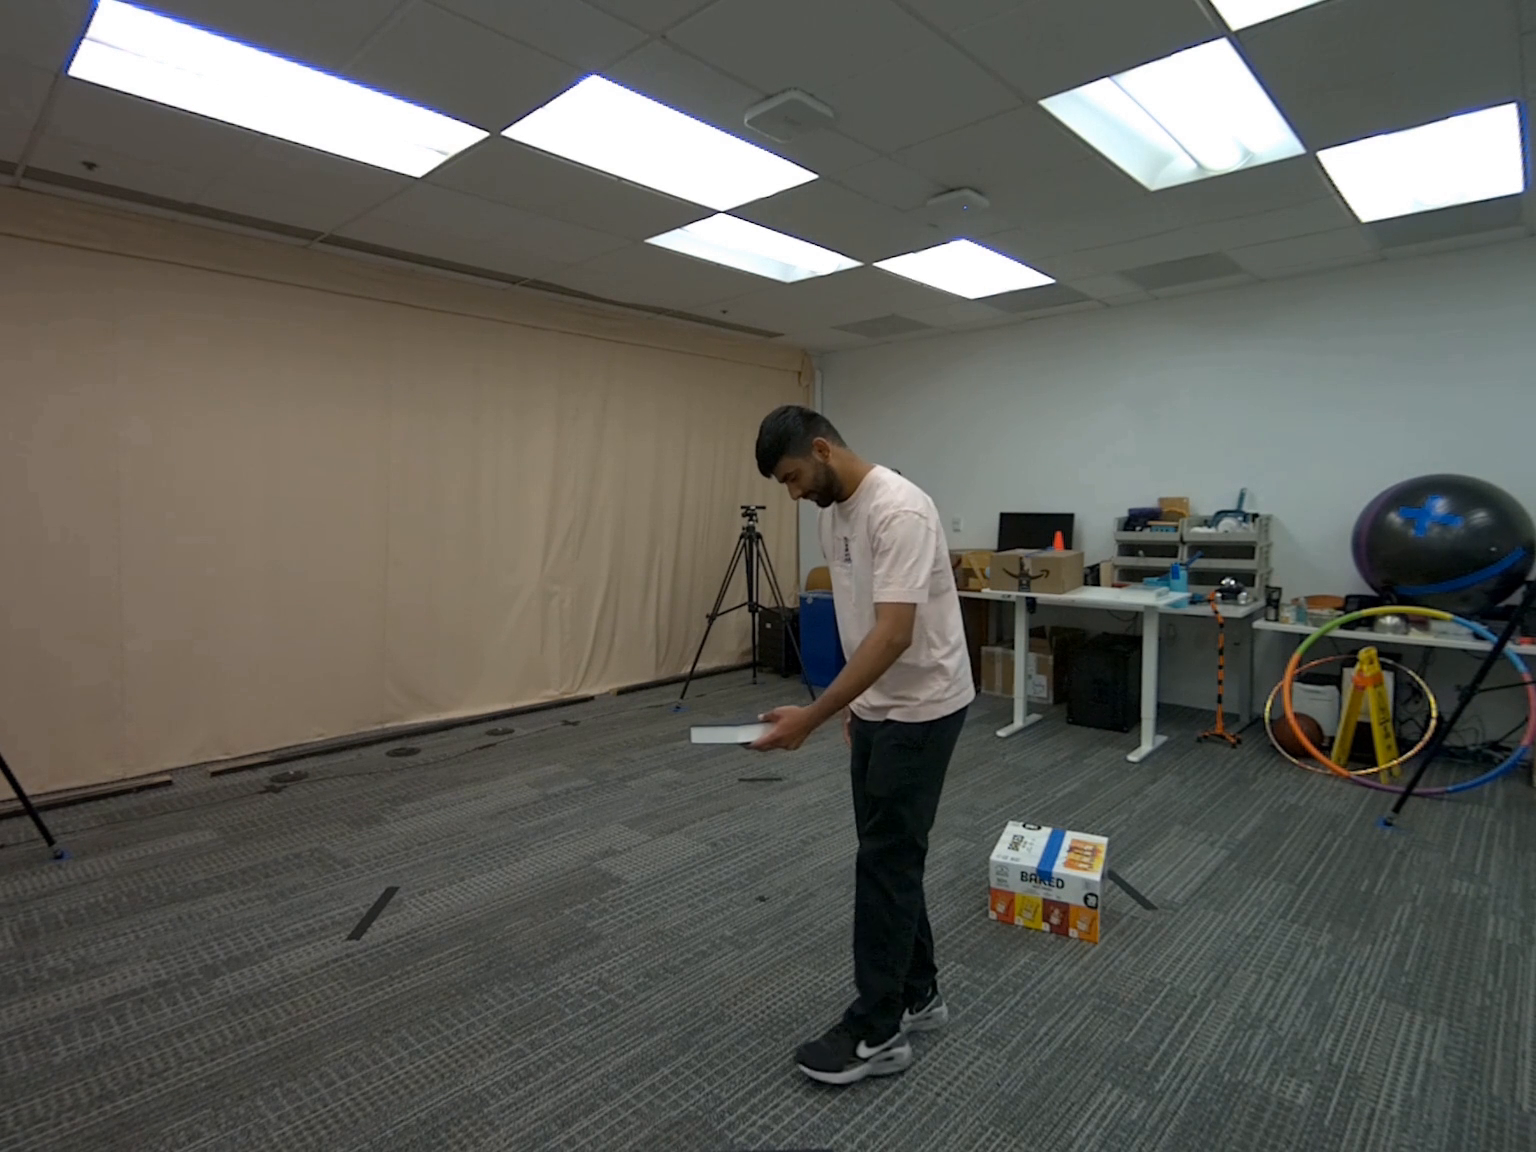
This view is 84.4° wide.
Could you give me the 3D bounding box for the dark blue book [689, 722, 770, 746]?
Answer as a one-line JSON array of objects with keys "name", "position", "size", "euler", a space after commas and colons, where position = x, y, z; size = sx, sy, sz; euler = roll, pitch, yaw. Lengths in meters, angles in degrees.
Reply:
[{"name": "dark blue book", "position": [-0.034, 0.375, 1.964], "size": [0.168, 0.045, 0.237], "euler": [-9, -9, 41]}]
